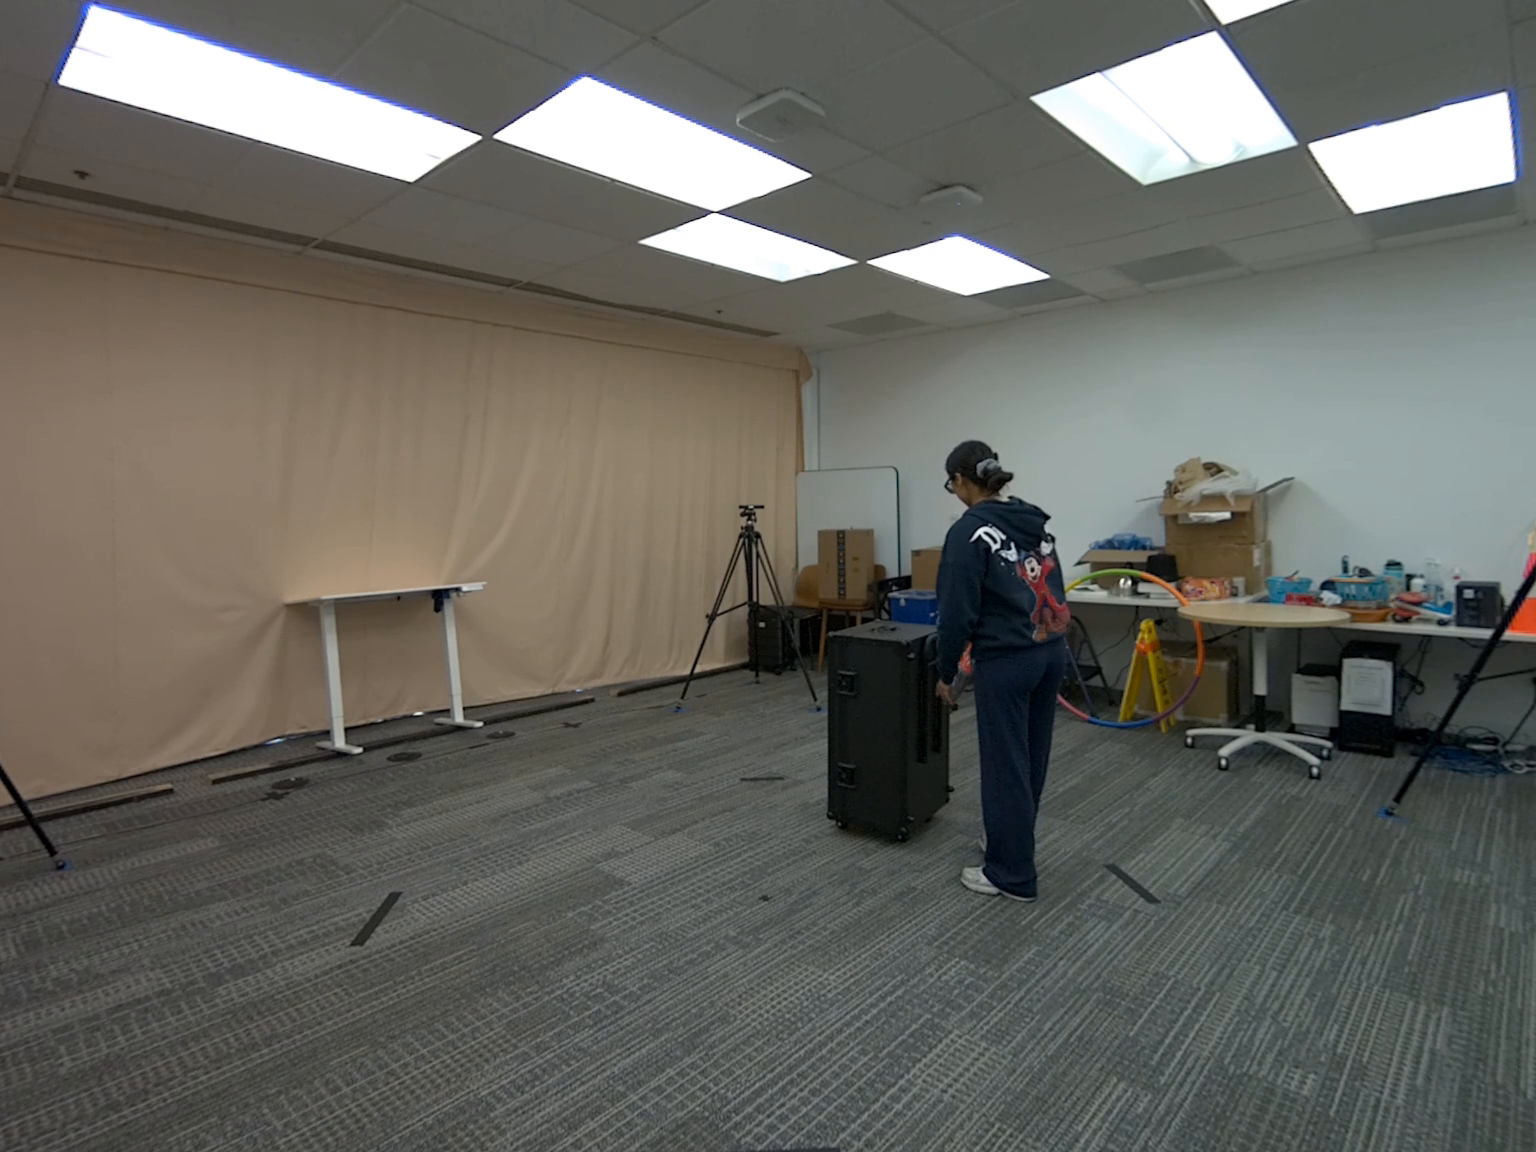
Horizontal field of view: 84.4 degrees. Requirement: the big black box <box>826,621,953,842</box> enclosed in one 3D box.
[{"bbox_3d":[0.541,0.652,3.612,0.409,0.859,0.506,3,5,34],"label":"big black box"}]
